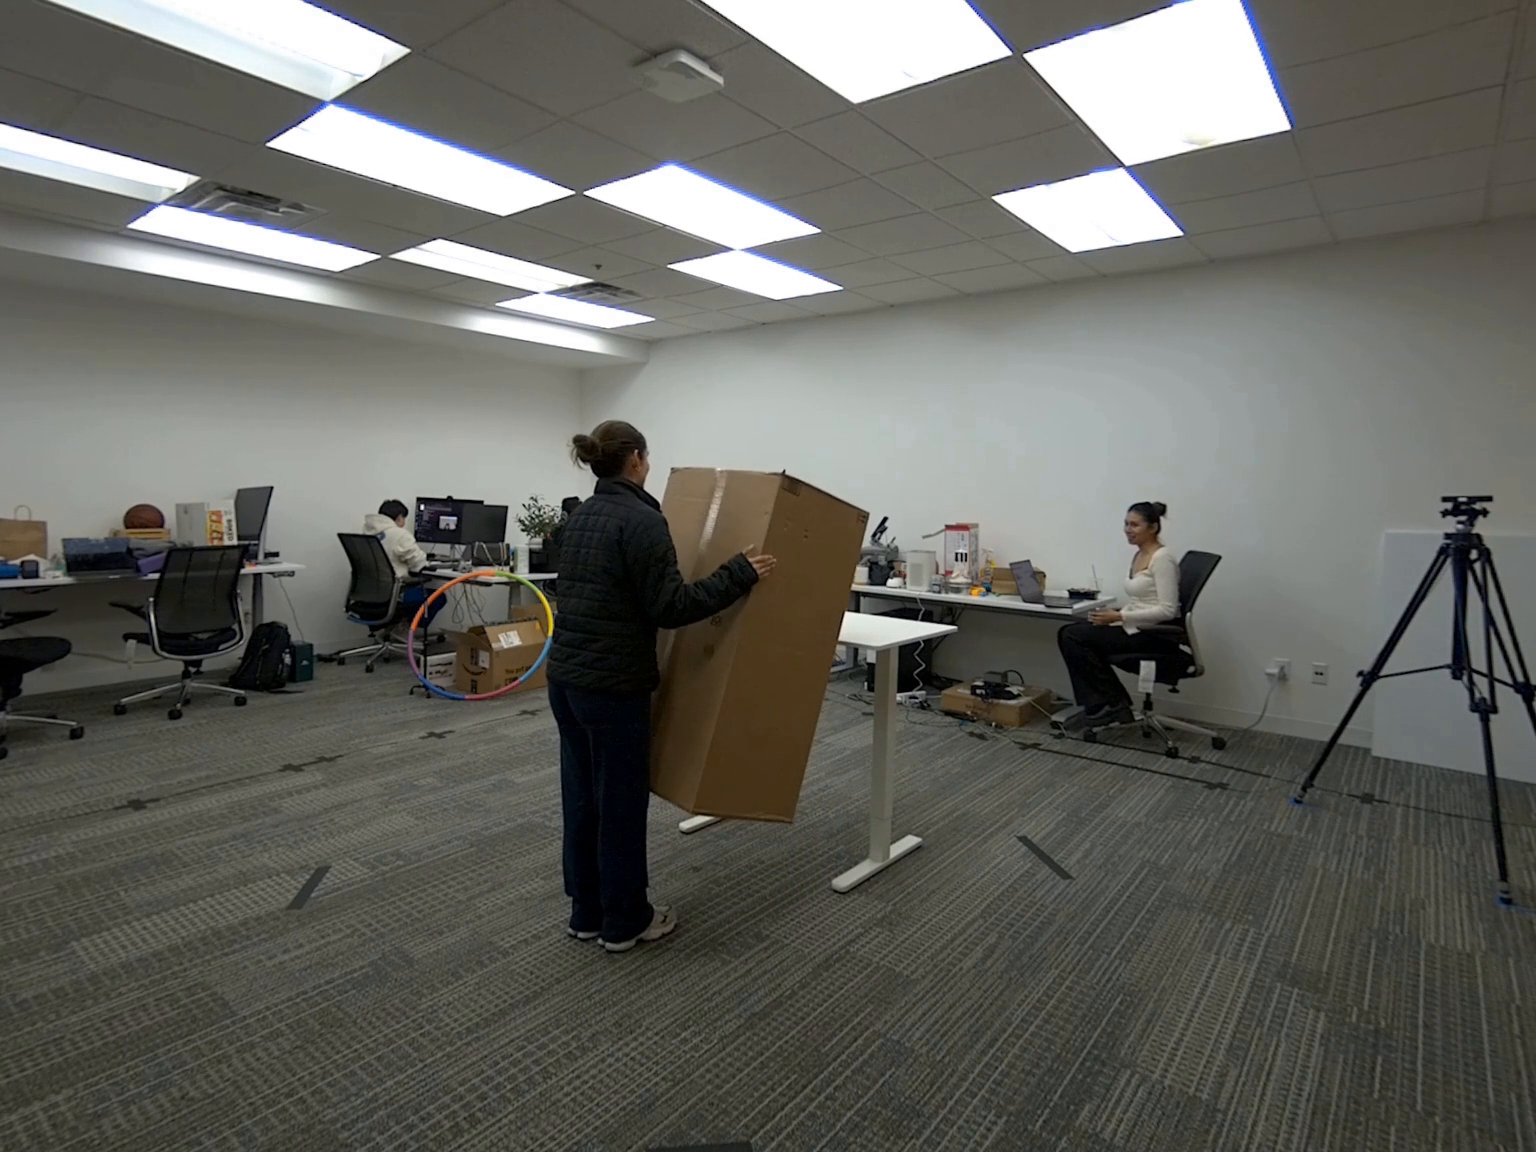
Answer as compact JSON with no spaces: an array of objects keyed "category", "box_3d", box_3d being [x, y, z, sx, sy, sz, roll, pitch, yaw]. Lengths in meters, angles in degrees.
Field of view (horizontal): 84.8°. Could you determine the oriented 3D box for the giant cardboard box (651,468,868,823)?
[{"category":"giant cardboard box","box_3d":[-0.117,0.194,2.823,0.430,1.031,0.604,20,-8,-39]}]
